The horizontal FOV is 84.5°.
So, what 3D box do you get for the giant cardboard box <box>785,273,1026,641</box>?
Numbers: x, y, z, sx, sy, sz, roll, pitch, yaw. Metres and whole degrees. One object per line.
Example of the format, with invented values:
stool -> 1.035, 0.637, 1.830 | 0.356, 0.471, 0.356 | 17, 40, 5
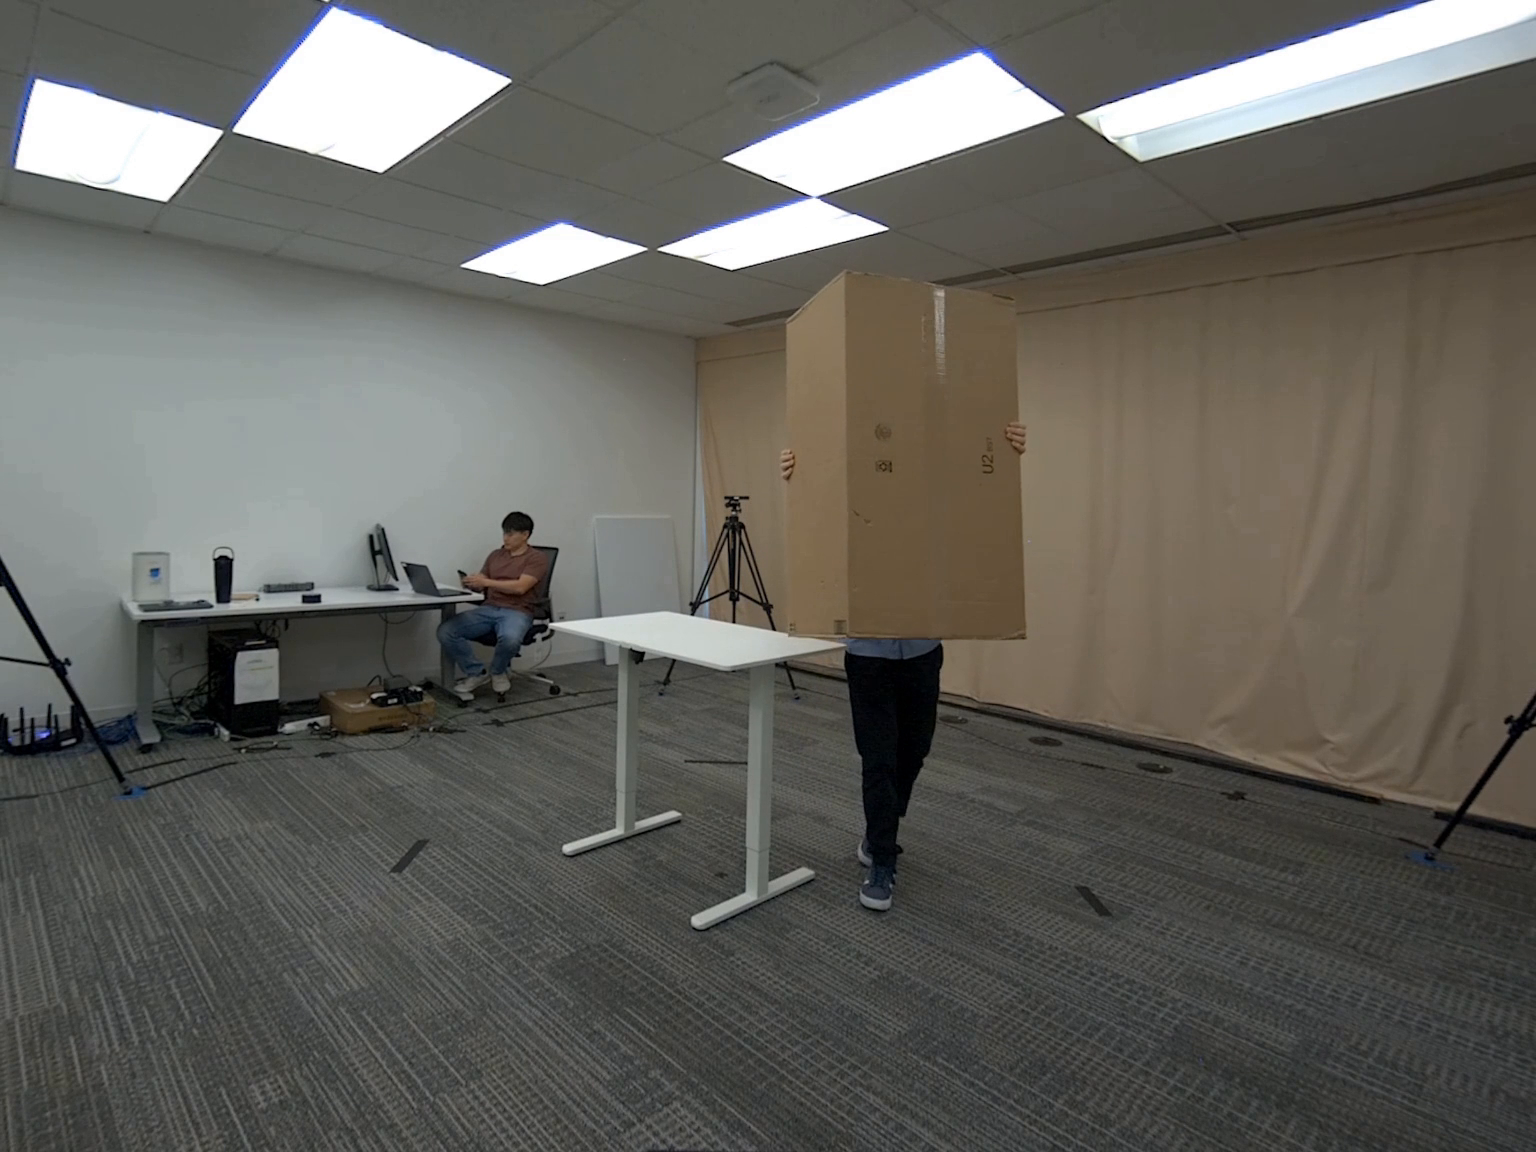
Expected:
giant cardboard box -> 0.395, -0.318, 2.577 | 0.569, 1.030, 0.431 | 2, -6, -19
